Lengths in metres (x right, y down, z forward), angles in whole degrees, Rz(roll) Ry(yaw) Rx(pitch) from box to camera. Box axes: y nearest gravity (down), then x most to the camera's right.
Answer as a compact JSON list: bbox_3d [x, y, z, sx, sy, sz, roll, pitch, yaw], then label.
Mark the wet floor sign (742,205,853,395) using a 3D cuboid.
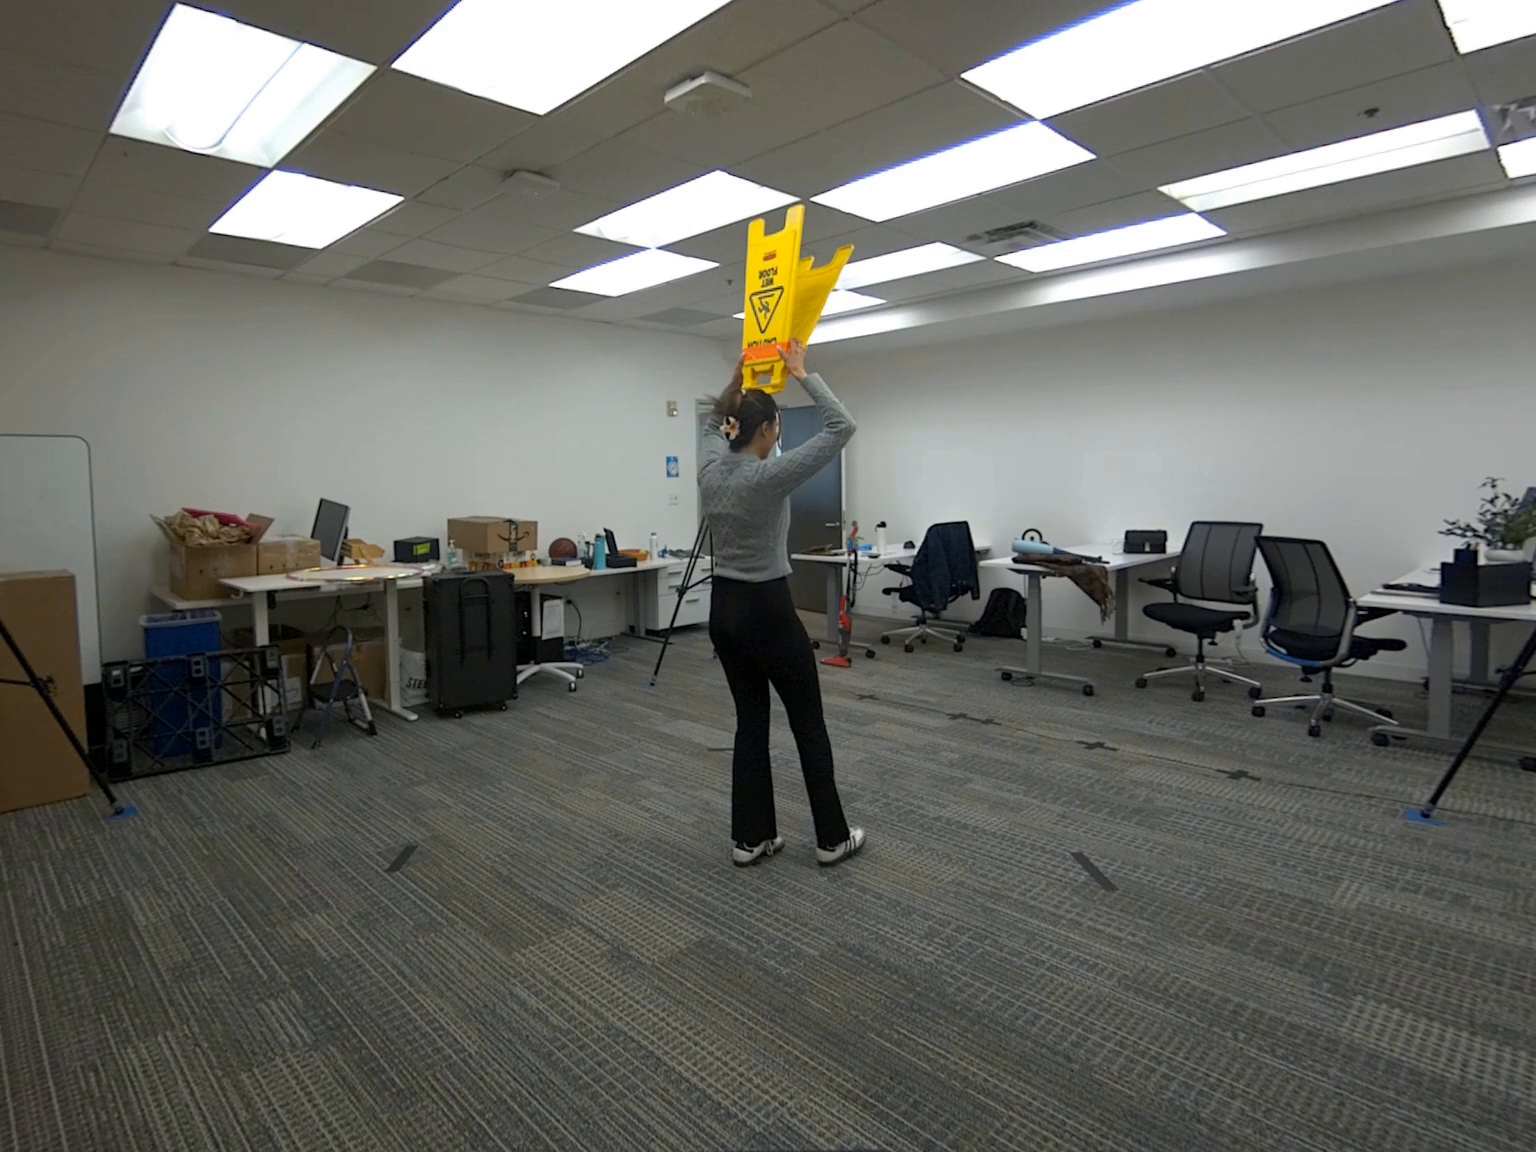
[{"bbox_3d":[0.048,-0.965,3.134,0.279,0.650,0.291,23,-13,-40],"label":"wet floor sign"}]
